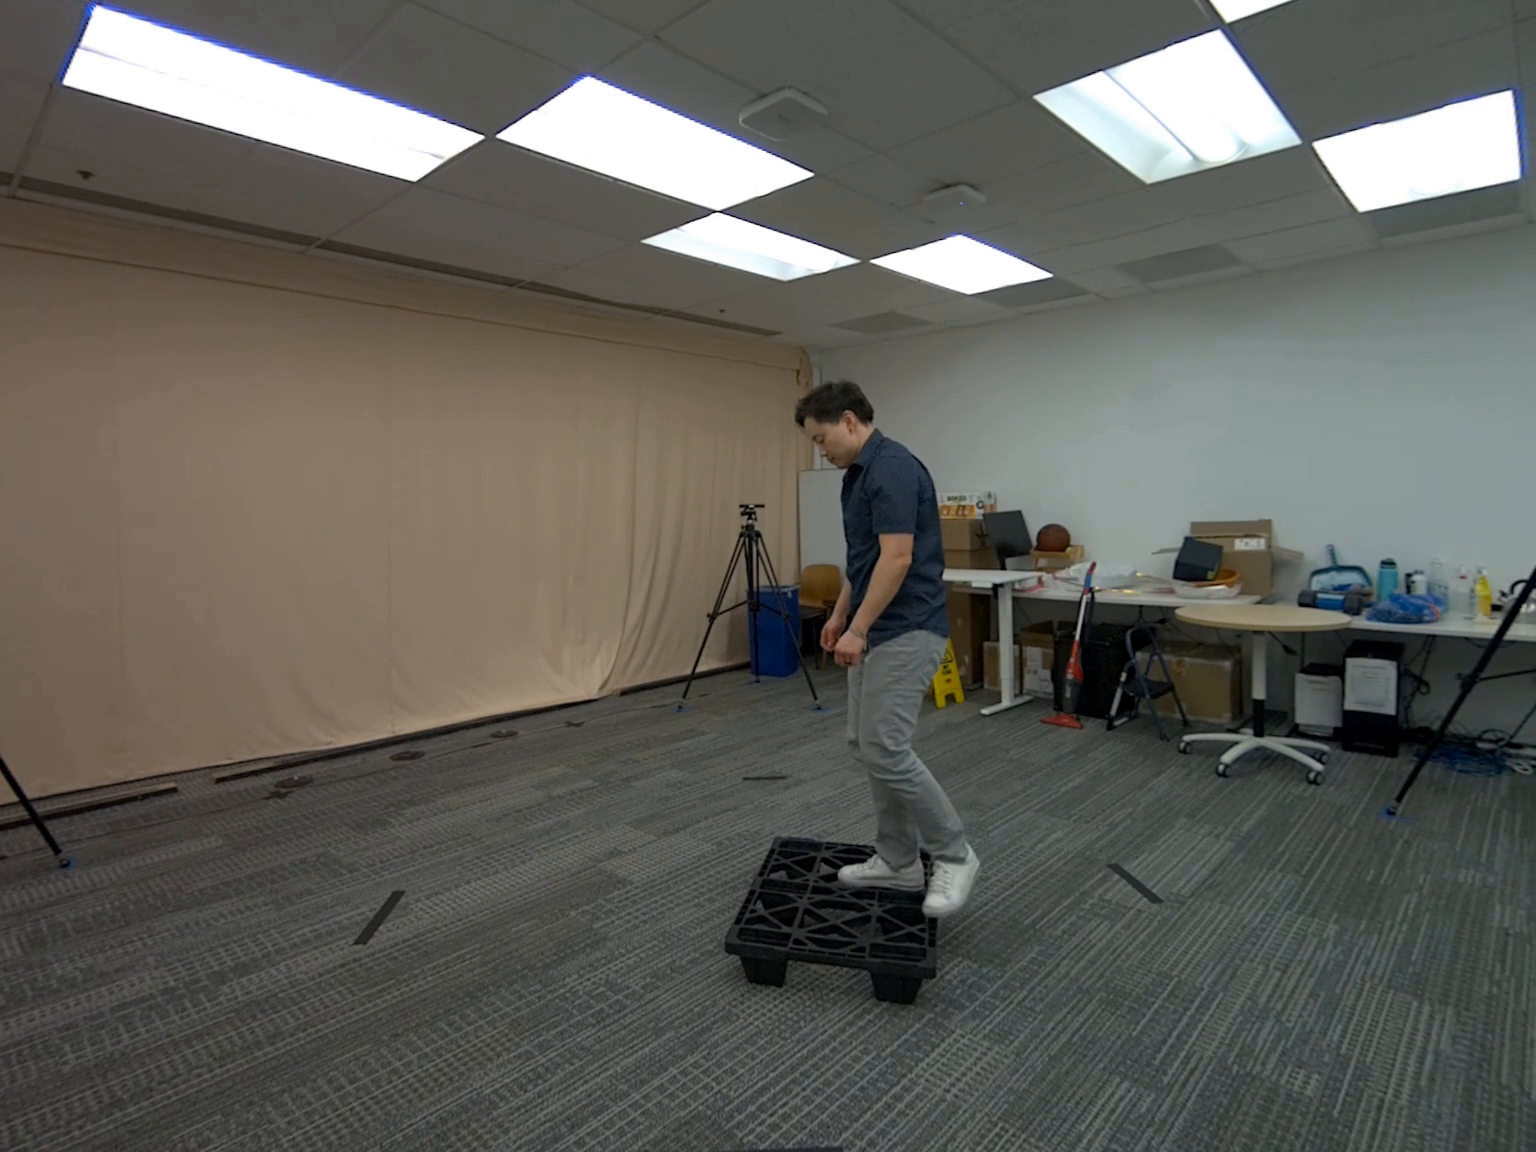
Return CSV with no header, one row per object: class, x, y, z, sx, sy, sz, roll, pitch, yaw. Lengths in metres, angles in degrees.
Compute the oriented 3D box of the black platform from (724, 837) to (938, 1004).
black platform,0.252,1.088,2.740,0.614,0.143,0.796,1,5,13
